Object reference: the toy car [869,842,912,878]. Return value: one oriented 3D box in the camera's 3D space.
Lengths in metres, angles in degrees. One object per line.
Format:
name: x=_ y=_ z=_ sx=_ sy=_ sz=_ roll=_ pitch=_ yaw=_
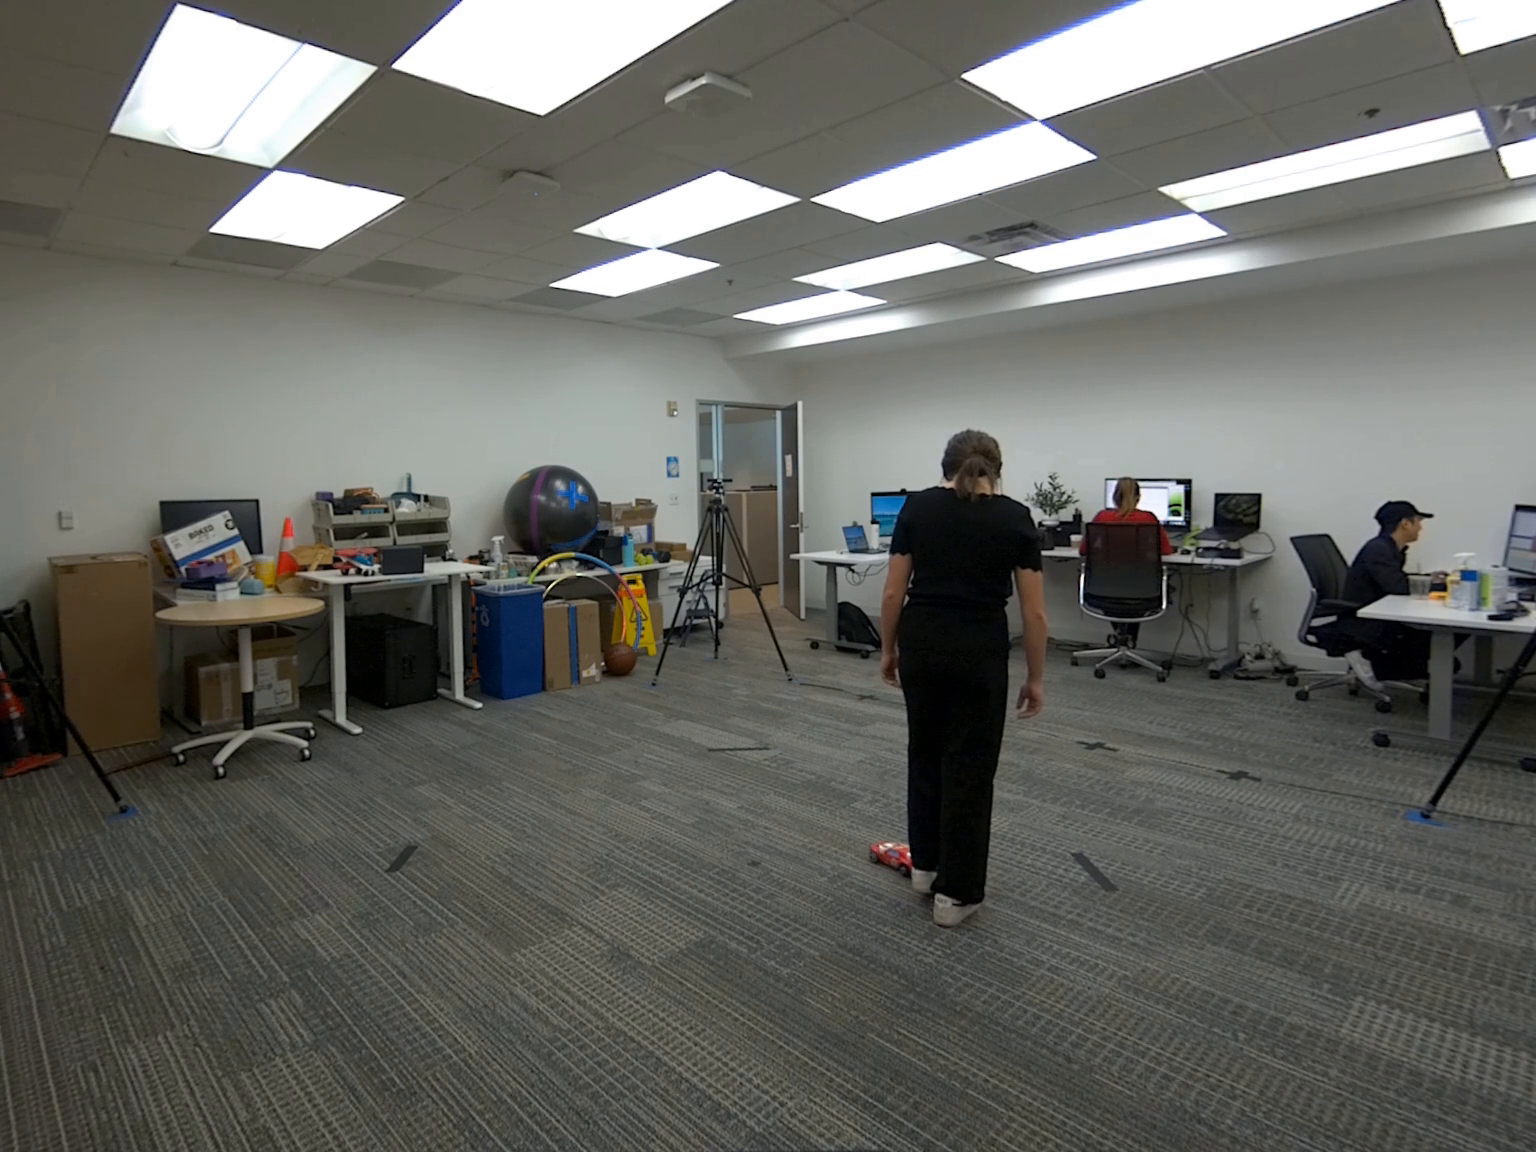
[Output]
toy car: x=0.484 y=1.010 z=3.051 sx=0.127 sy=0.083 sz=0.260 roll=-6 pitch=-3 yaw=-37
